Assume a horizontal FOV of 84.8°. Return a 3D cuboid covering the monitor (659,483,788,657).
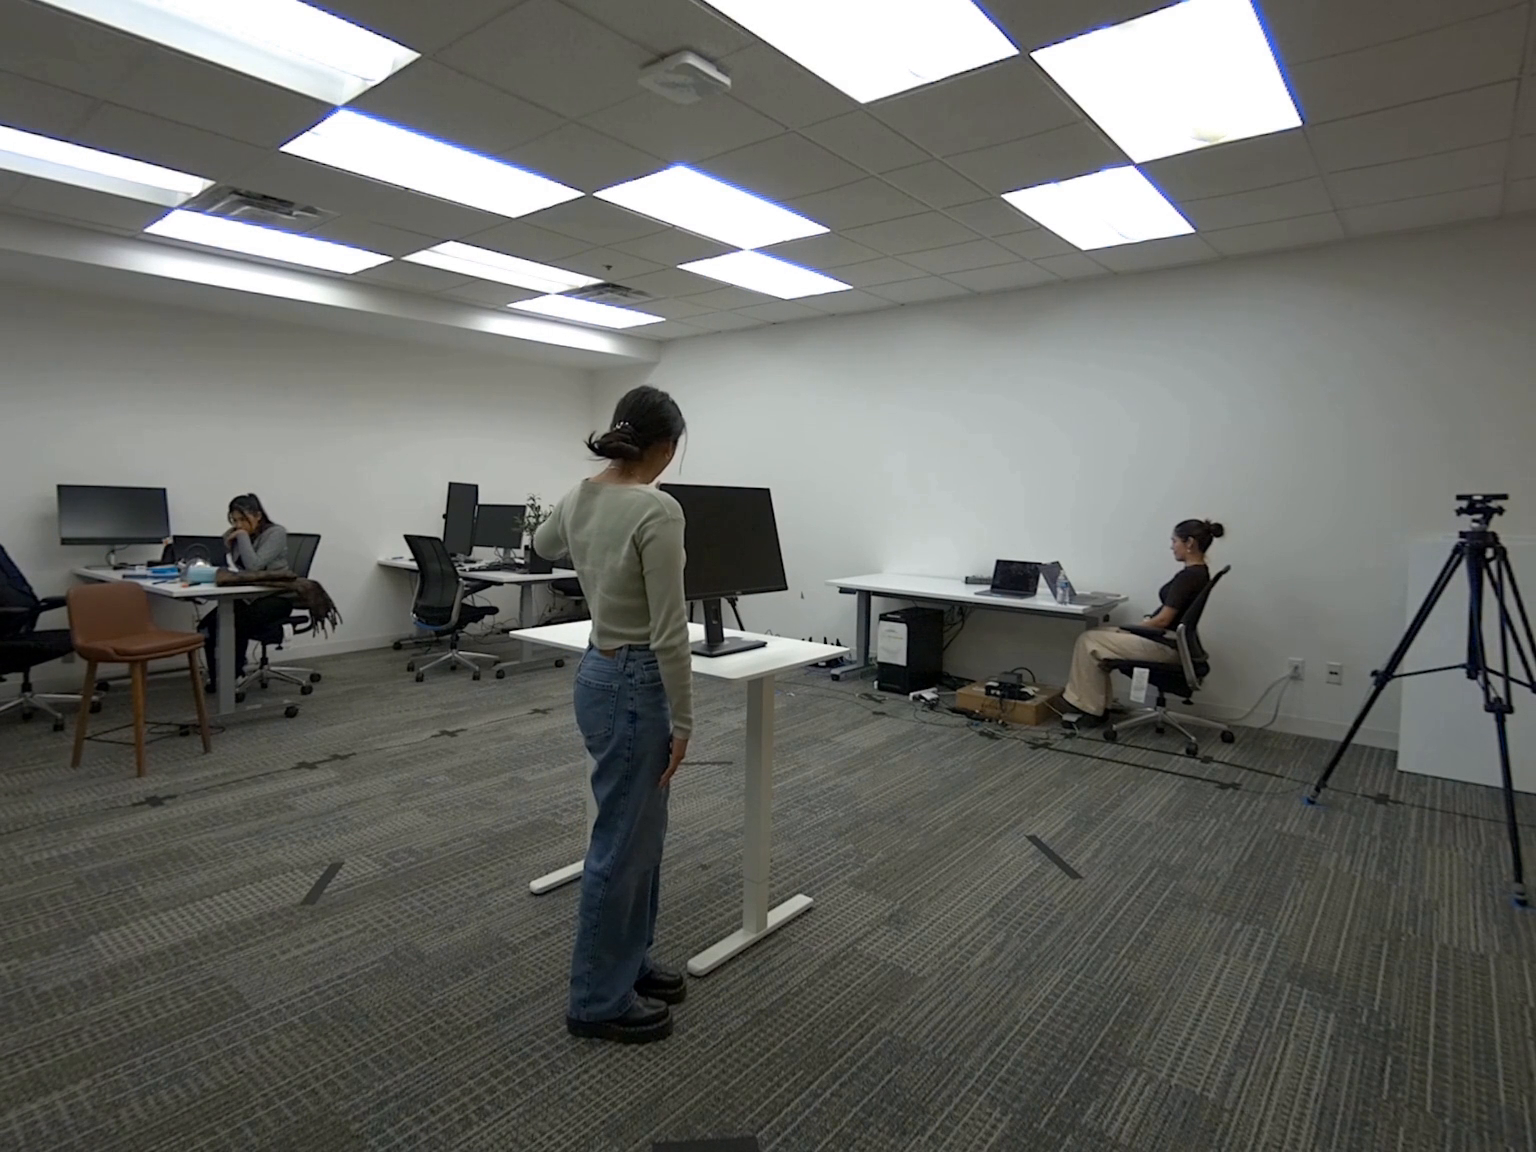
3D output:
[{"bbox_3d":[-0.166,-0.024,2.697,0.193,0.522,0.523,-1,2,39],"label":"monitor"}]
